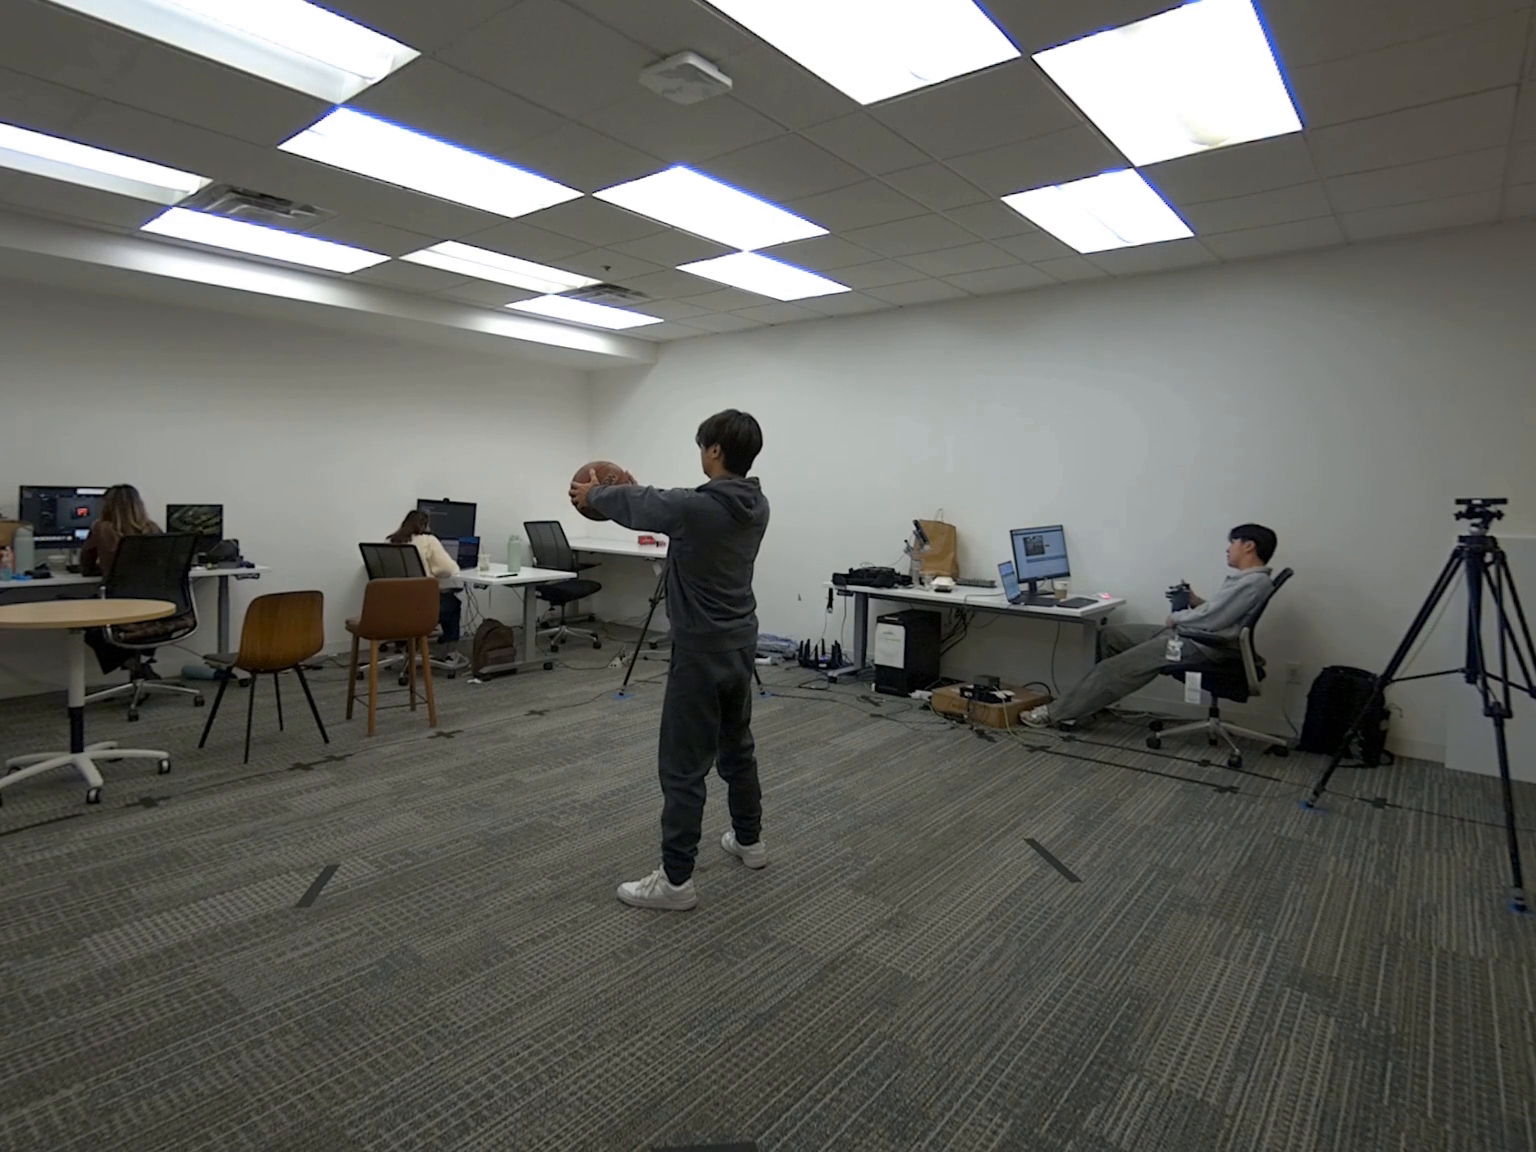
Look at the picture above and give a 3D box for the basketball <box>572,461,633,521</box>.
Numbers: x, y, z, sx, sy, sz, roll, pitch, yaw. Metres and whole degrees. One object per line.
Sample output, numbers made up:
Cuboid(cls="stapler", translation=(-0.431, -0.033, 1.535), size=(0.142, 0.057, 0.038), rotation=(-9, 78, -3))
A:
Cuboid(cls="basketball", translation=(-0.664, -0.335, 3.338), size=(0.235, 0.235, 0.237), rotation=(1, 4, -2))
